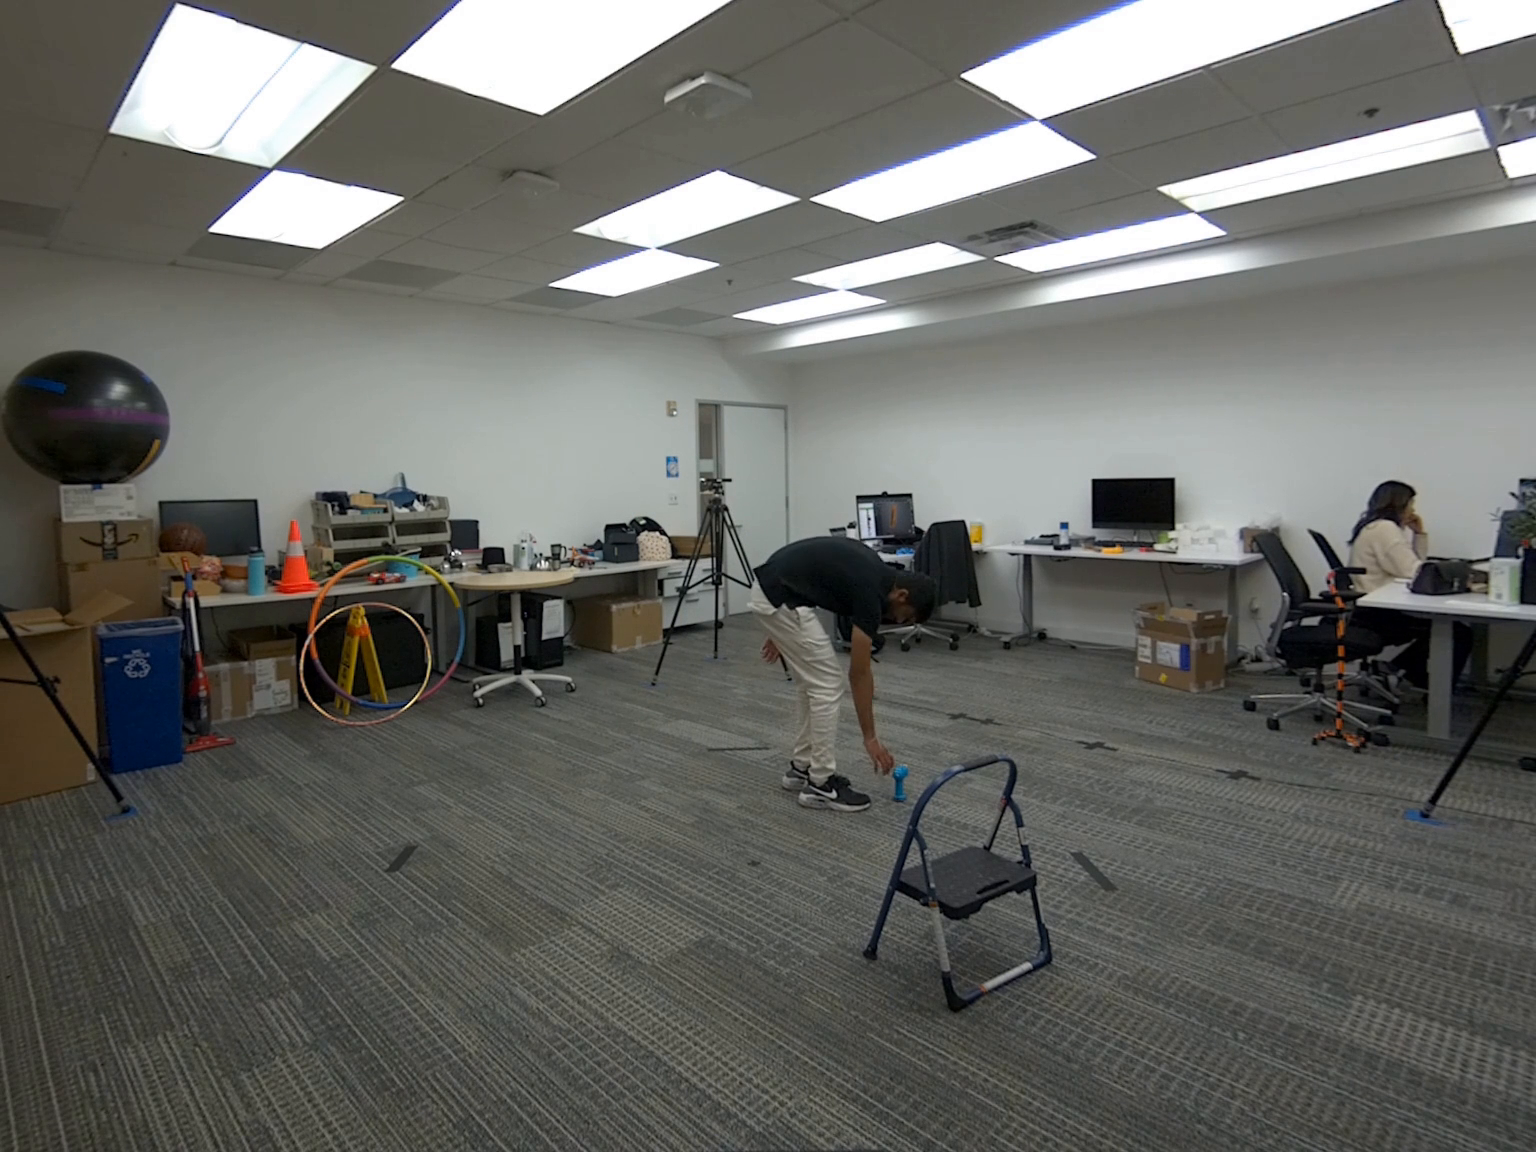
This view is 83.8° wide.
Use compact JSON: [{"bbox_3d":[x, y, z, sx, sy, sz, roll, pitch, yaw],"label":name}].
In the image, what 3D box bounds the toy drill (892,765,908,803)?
[{"bbox_3d":[0.578,0.886,3.726,0.062,0.145,0.167,-2,4,21],"label":"toy drill"}]
